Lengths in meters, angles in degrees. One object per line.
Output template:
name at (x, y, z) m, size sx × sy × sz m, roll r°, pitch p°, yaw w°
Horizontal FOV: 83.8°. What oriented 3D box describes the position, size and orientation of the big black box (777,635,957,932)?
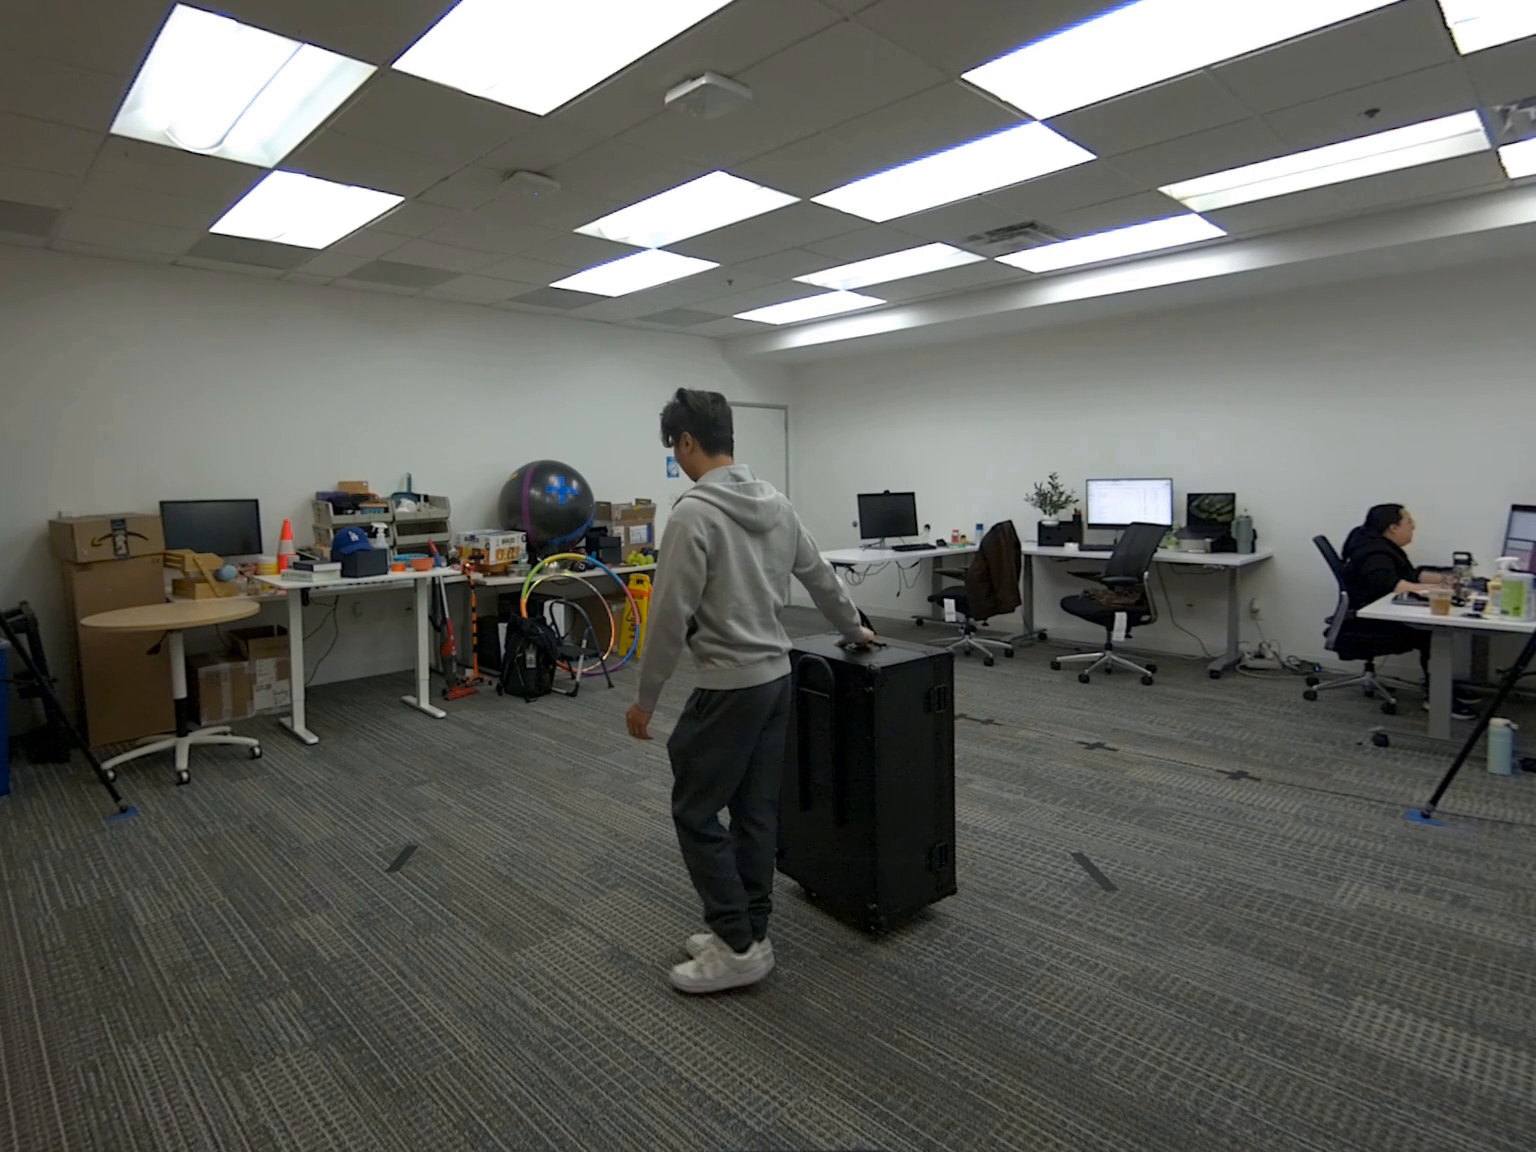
big black box at (0.304, 0.653, 2.774) m, size 0.386 × 0.857 × 0.537 m, roll -6°, pitch 7°, yaw -36°
